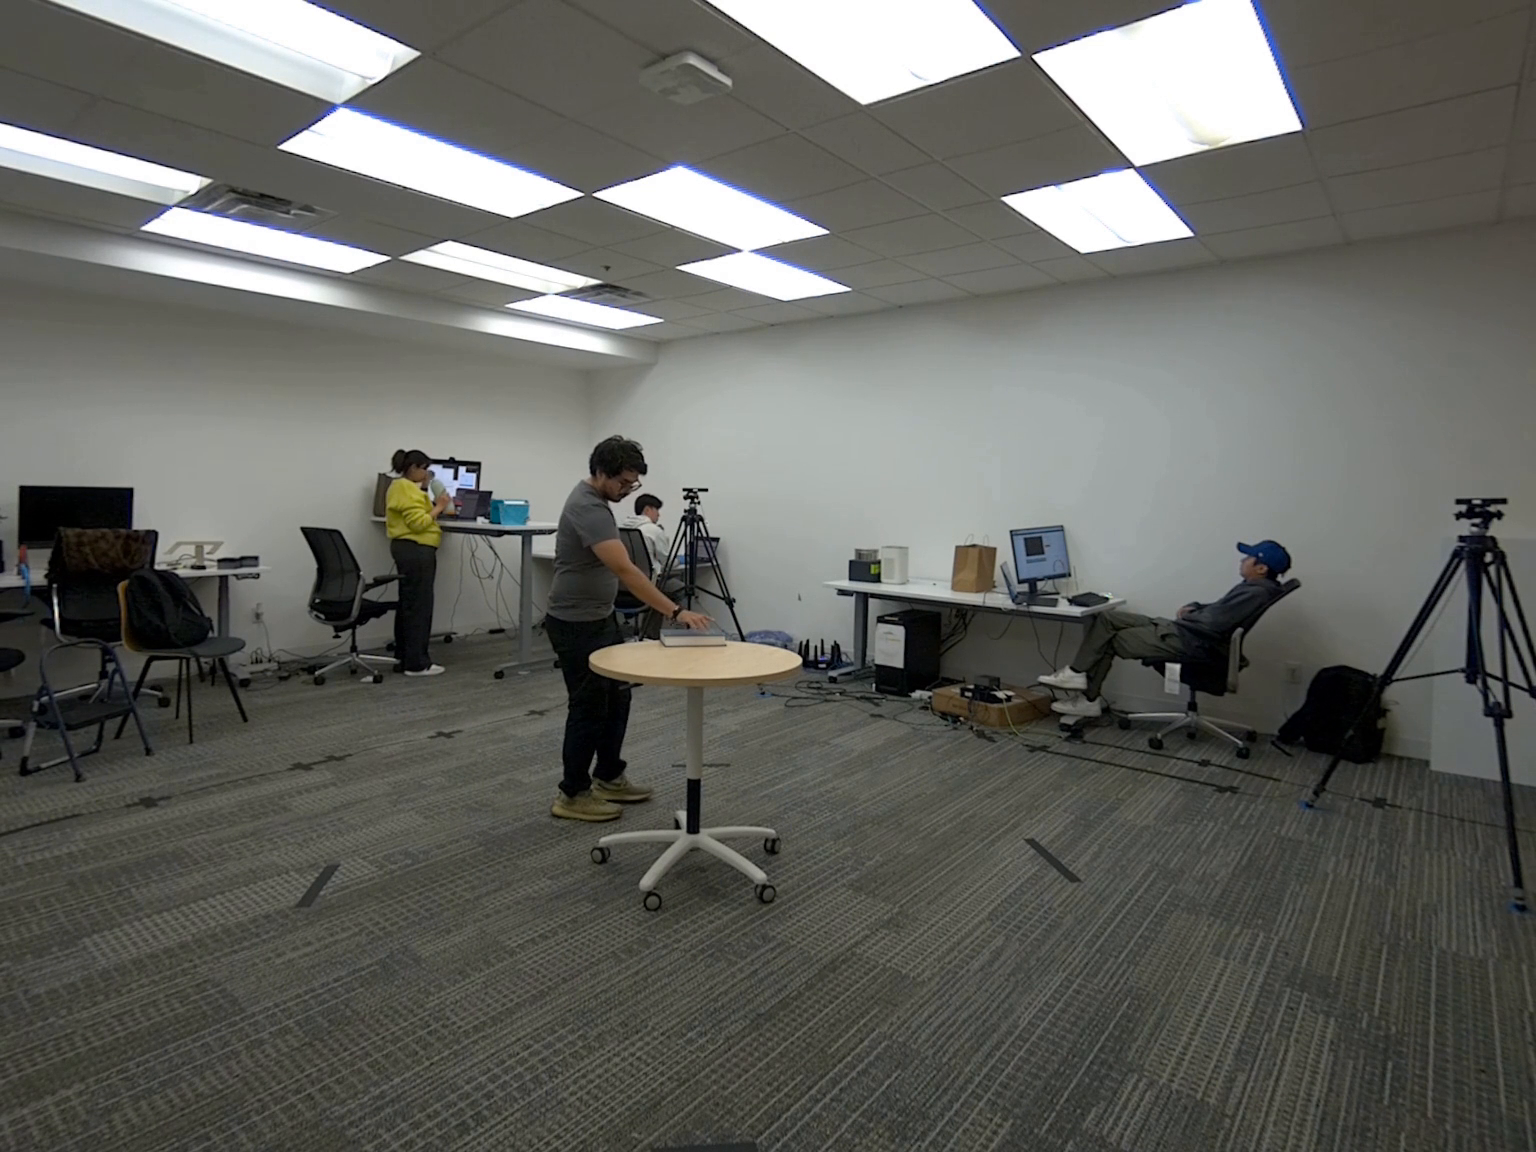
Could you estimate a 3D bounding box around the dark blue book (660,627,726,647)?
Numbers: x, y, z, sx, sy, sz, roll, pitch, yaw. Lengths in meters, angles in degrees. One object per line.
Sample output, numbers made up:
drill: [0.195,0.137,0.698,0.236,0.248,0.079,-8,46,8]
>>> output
dark blue book: [-0.309,0.241,3.375,0.242,0.045,0.166,0,5,-13]
